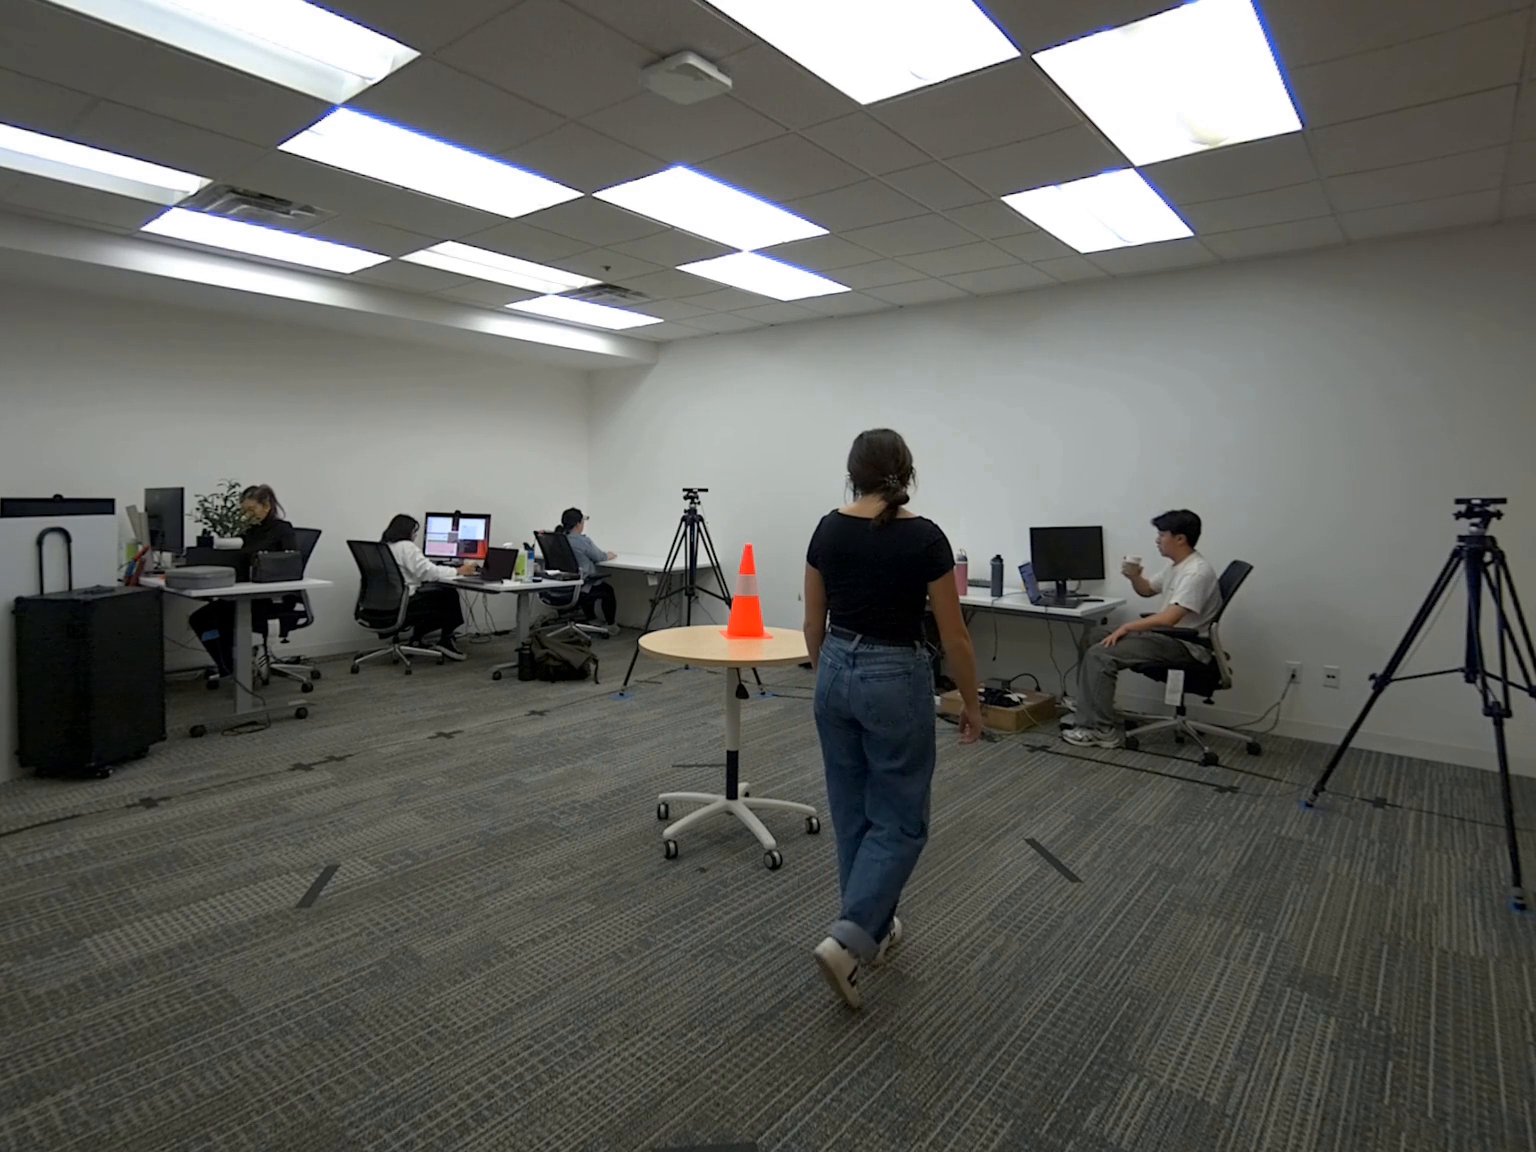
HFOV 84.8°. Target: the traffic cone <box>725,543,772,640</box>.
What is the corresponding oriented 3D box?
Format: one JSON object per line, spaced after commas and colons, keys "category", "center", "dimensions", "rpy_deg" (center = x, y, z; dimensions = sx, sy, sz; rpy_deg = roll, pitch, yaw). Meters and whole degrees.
{"category": "traffic cone", "center": [-0.090, 0.051, 3.563], "dimensions": [0.199, 0.382, 0.210], "rpy_deg": [-1, 6, -22]}
